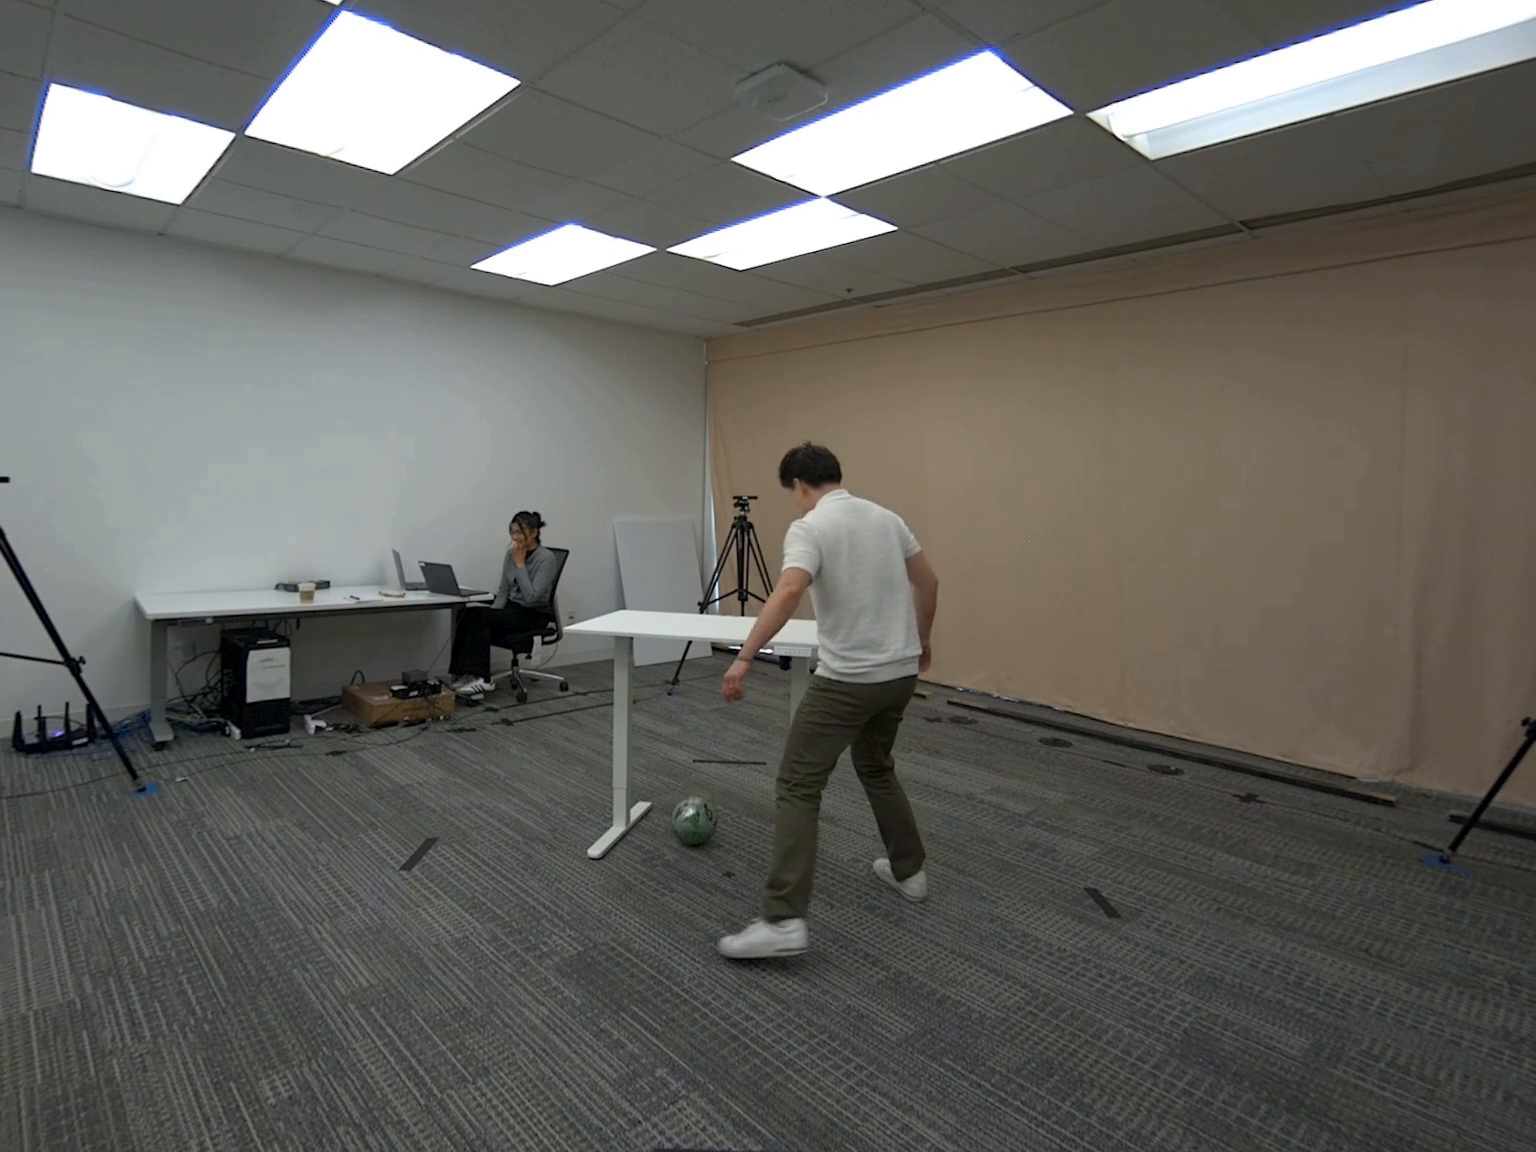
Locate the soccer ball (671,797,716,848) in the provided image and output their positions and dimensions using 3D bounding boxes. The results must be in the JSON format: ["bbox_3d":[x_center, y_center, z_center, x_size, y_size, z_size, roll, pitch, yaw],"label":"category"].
[{"bbox_3d":[-0.307,0.975,3.364,0.187,0.187,0.188,1,4,-1],"label":"soccer ball"}]
